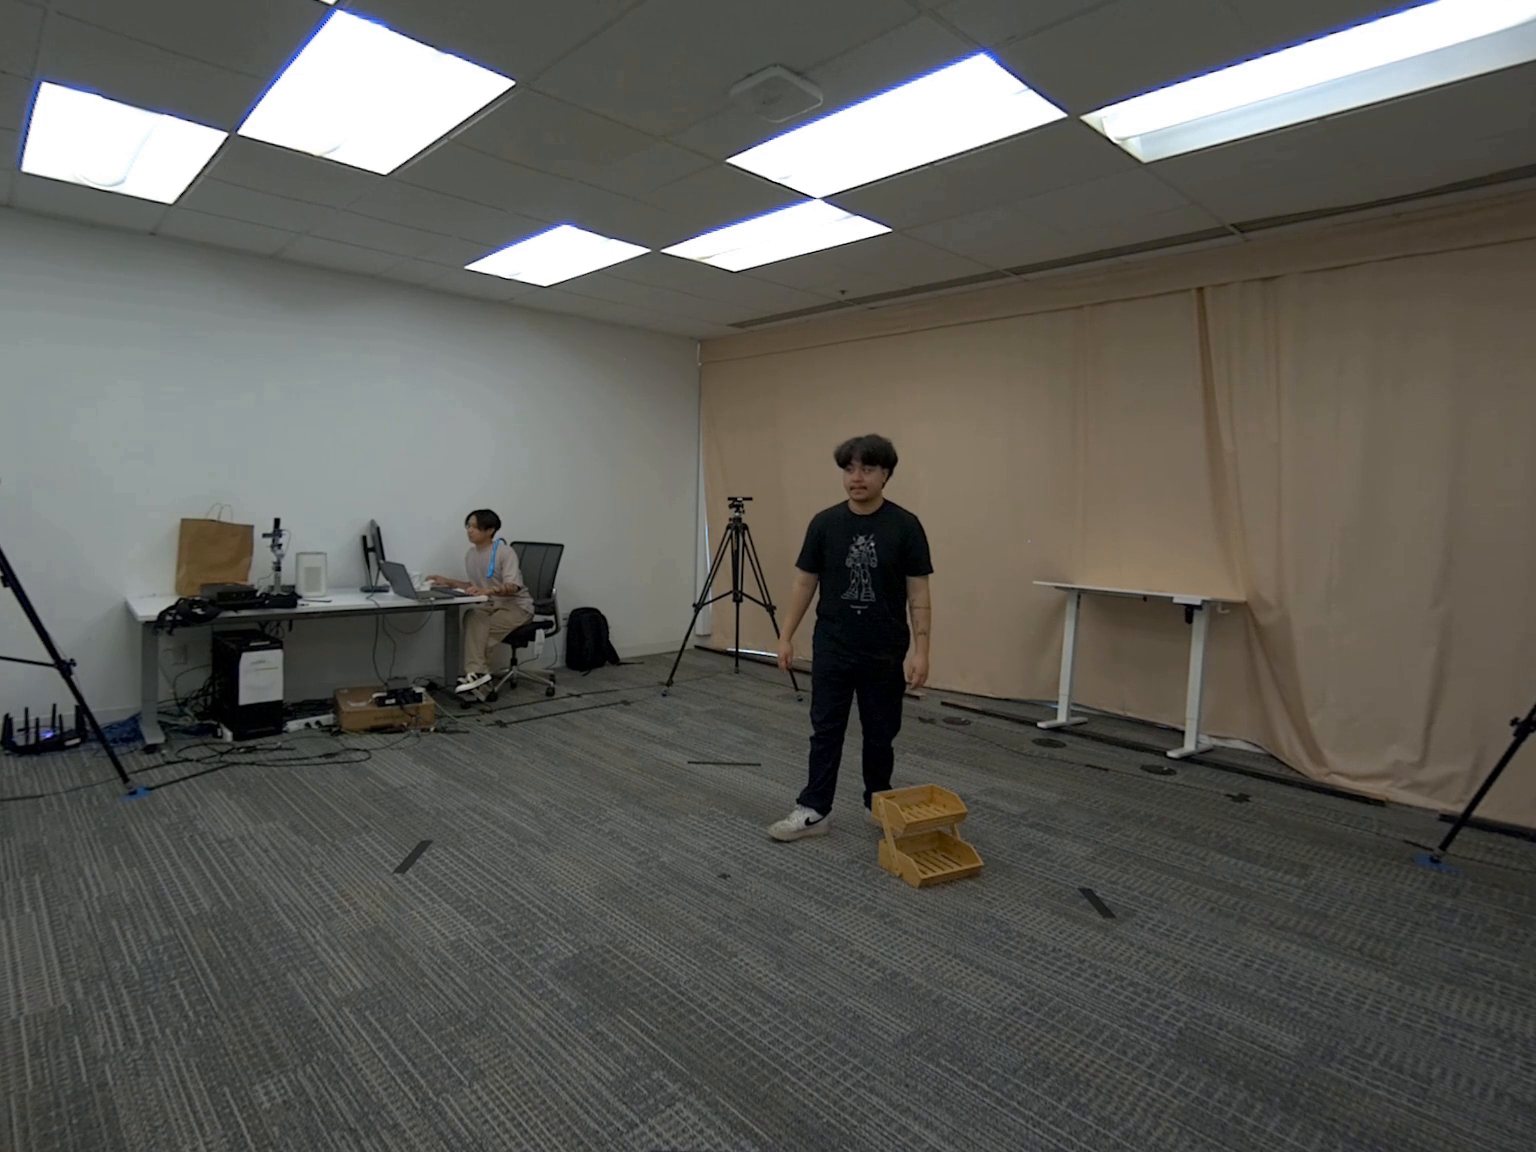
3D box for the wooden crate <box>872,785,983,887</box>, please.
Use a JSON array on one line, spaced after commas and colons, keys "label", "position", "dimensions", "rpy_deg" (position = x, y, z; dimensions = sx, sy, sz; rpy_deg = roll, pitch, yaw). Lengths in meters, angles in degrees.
[{"label": "wooden crate", "position": [0.598, 0.986, 3.221], "dimensions": [0.318, 0.273, 0.308], "rpy_deg": [0, 4, -29]}]
